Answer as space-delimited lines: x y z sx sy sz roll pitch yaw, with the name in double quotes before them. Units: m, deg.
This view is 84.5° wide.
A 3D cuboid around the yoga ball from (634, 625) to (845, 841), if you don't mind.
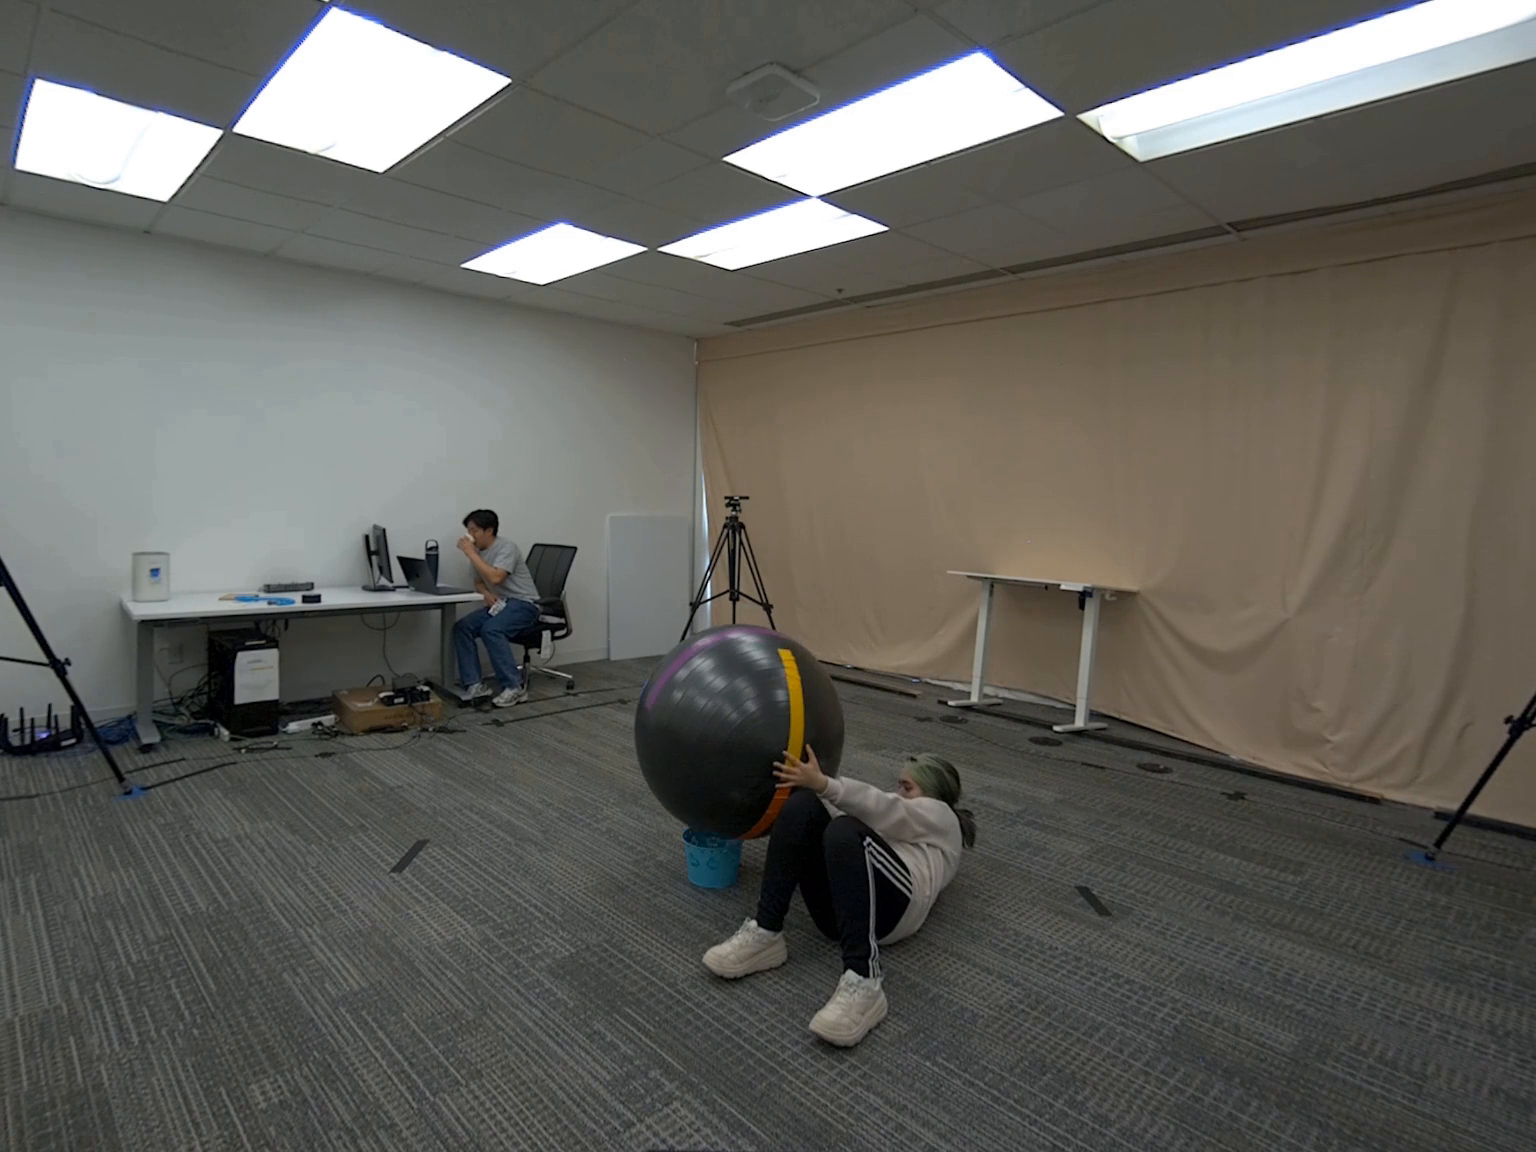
"yoga ball" -0.100 0.550 3.057 0.757 0.756 0.761 1 4 -1
